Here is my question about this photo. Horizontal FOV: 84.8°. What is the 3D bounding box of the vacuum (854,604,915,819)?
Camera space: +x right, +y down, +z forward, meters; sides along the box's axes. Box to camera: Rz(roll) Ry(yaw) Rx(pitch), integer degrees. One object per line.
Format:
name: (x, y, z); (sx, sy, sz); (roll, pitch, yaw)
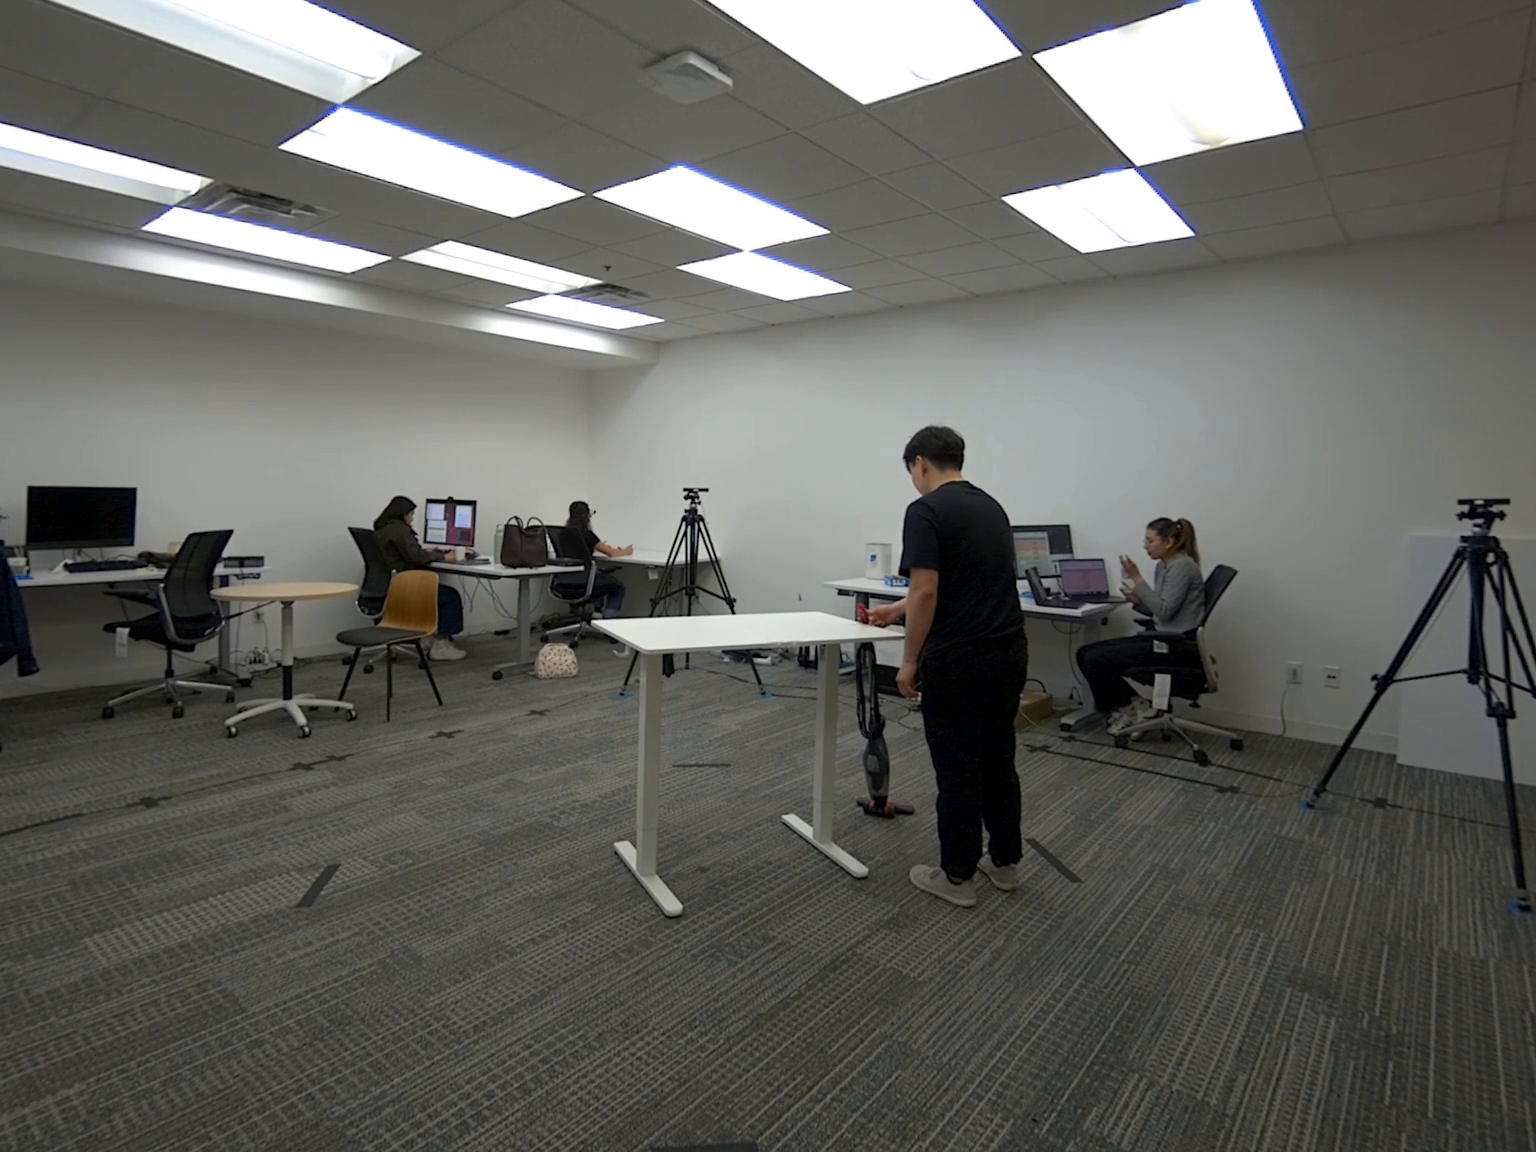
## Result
vacuum: (0.422, 0.573, 3.497); (0.259, 1.022, 0.144); (3, 28, 25)
